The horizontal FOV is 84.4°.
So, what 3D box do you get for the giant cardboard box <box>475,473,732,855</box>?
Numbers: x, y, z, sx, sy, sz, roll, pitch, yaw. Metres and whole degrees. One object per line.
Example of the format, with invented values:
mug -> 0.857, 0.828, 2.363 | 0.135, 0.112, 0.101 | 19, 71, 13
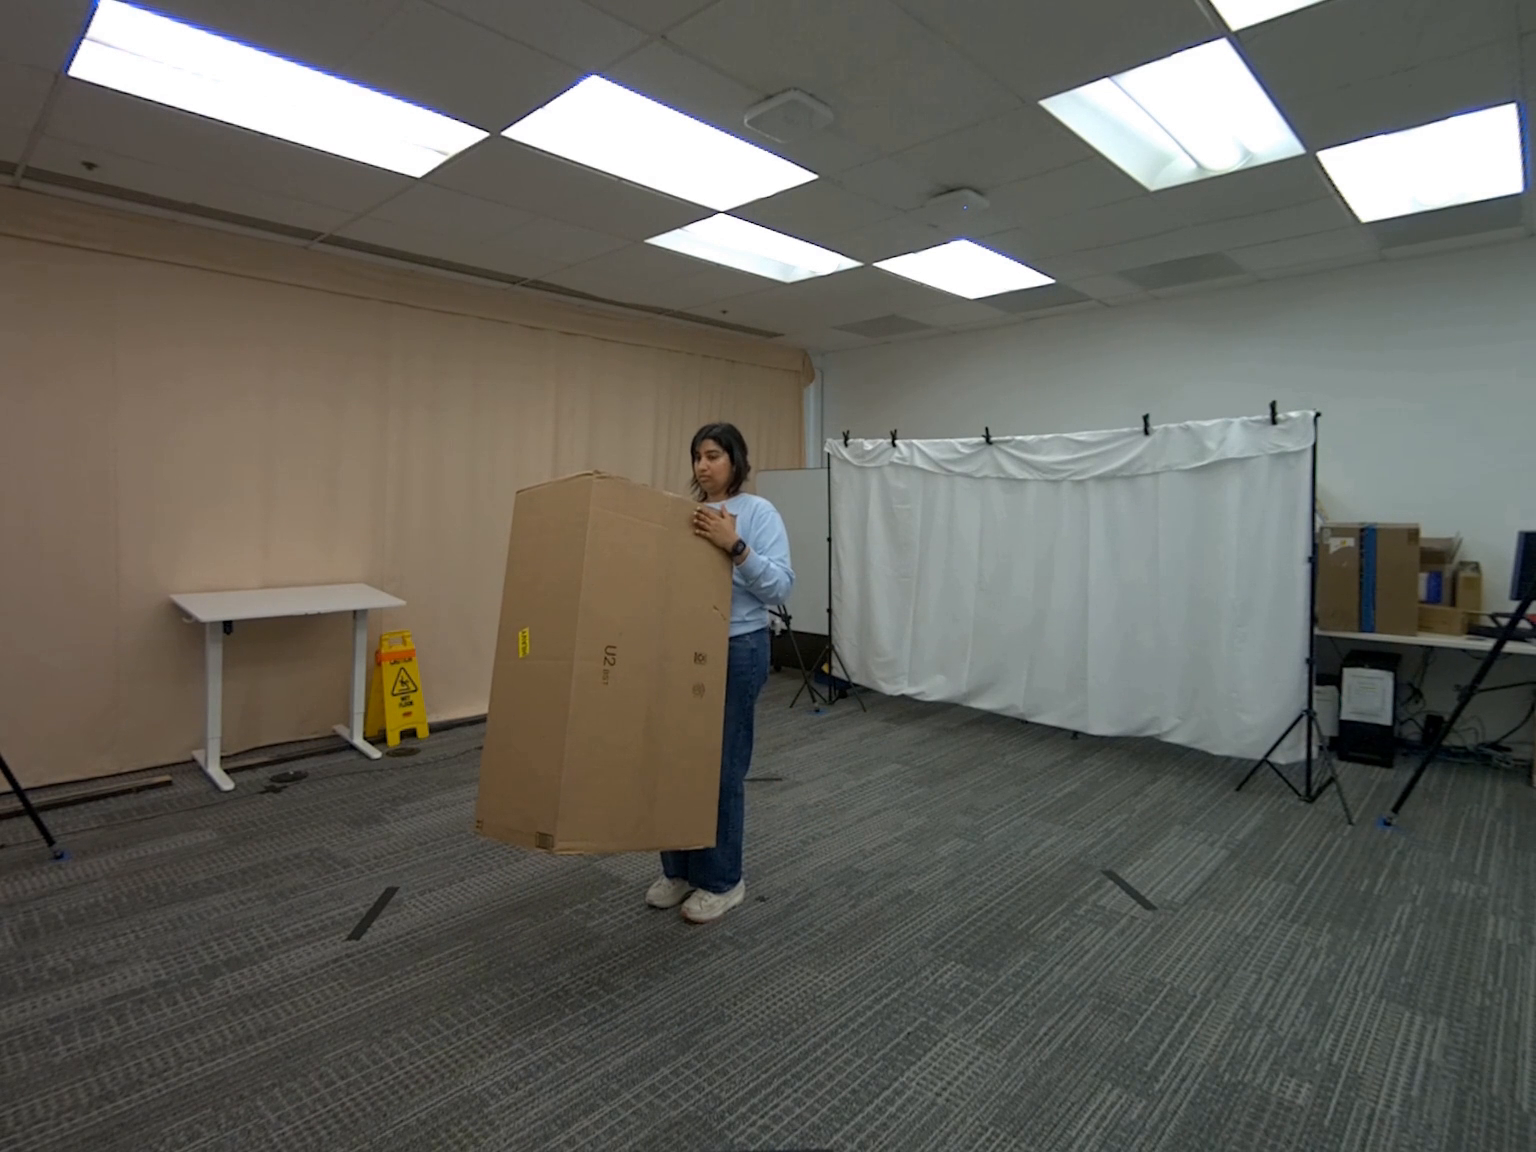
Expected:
giant cardboard box -> -0.477, 0.274, 2.559 | 0.563, 1.034, 0.460 | 14, -16, -42
